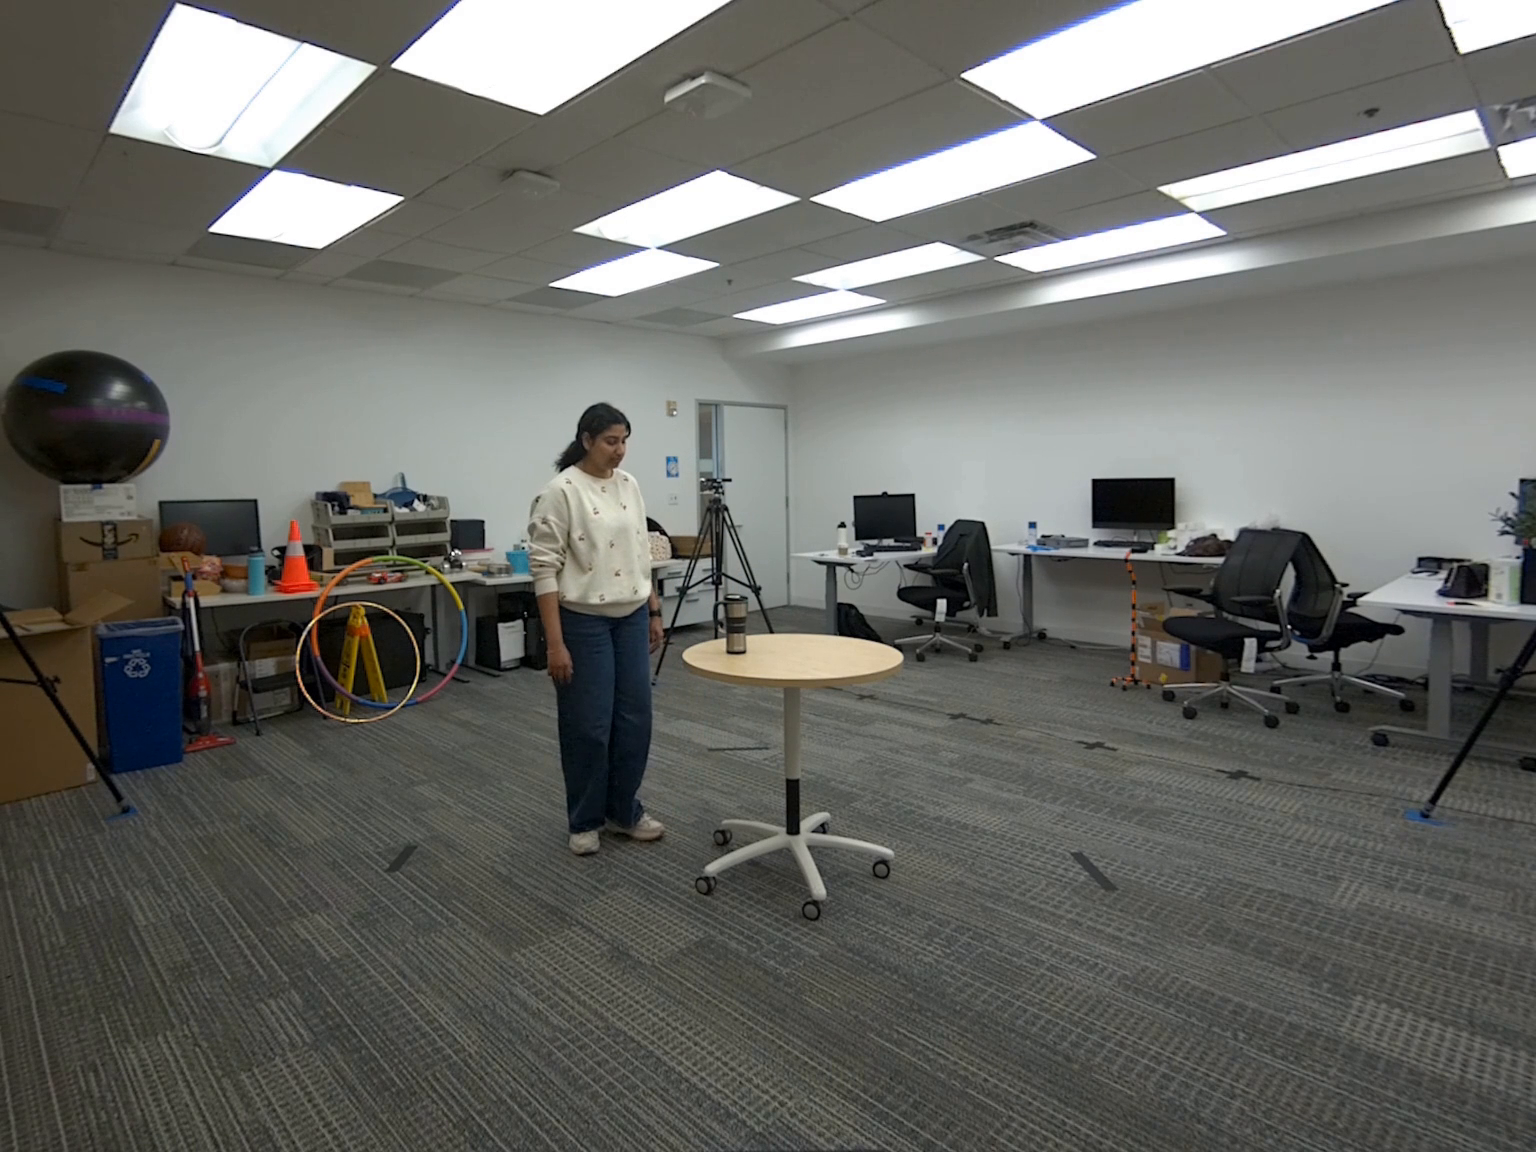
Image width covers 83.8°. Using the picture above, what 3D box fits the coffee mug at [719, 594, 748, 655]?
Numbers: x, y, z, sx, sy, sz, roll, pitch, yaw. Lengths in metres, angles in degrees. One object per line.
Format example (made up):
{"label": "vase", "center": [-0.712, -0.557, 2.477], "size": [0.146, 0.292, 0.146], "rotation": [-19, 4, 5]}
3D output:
{"label": "coffee mug", "center": [-0.126, 0.171, 3.016], "size": [0.125, 0.202, 0.086], "rotation": [2, 7, 25]}
